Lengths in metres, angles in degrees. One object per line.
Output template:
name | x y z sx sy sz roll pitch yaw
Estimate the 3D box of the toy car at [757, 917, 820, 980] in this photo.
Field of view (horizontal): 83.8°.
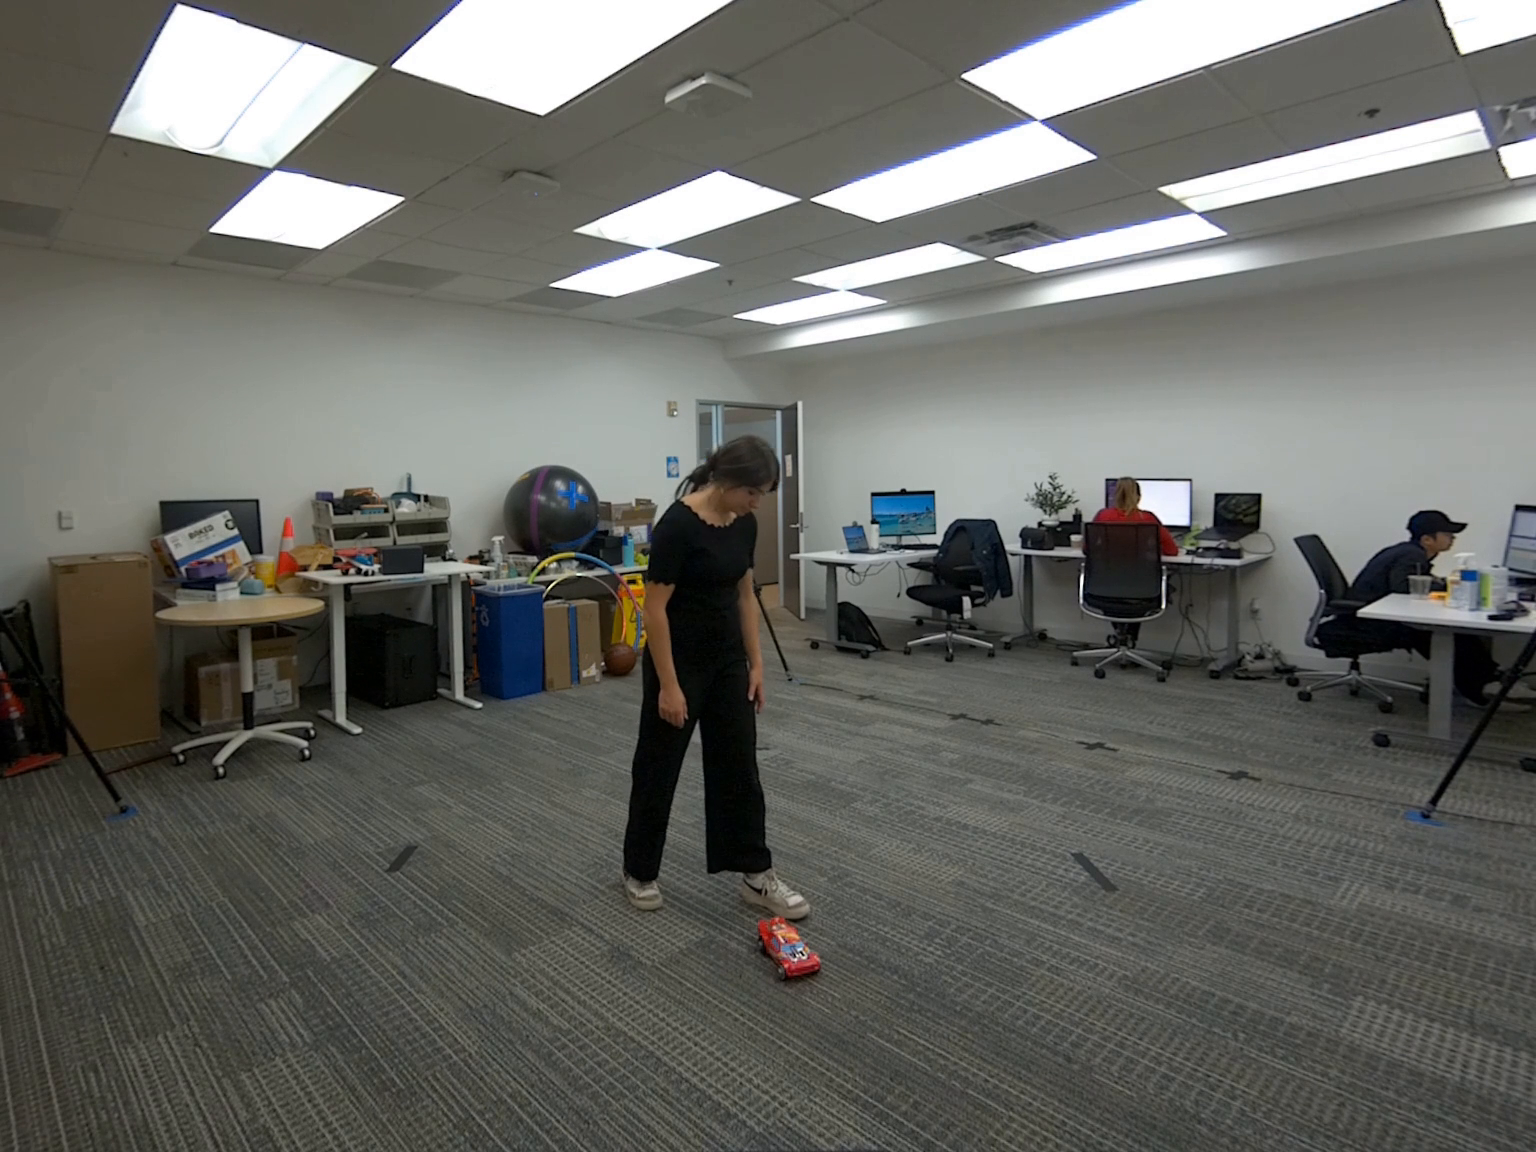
toy car | 0.055 1.086 2.484 0.128 0.082 0.262 -3 16 -21
